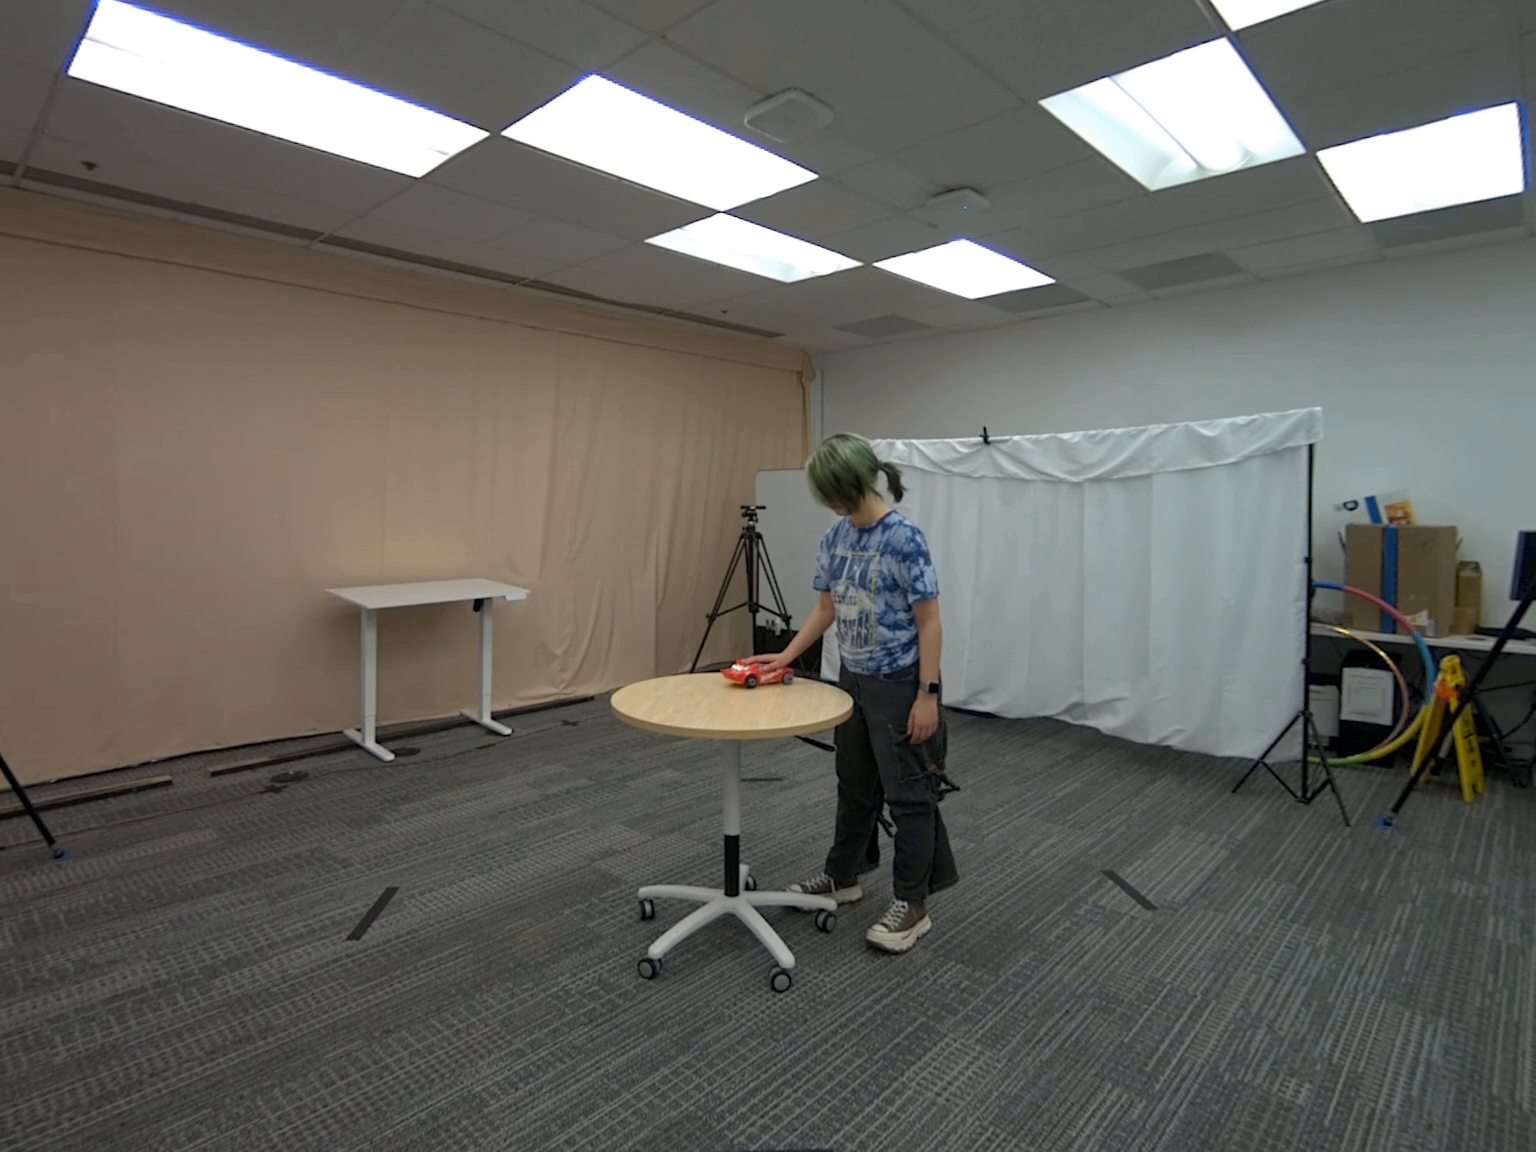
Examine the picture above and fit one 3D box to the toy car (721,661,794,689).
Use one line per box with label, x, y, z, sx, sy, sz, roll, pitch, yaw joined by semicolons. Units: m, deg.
toy car;-0.039;0.342;2.869;0.247;0.083;0.134;11;-1;-28
